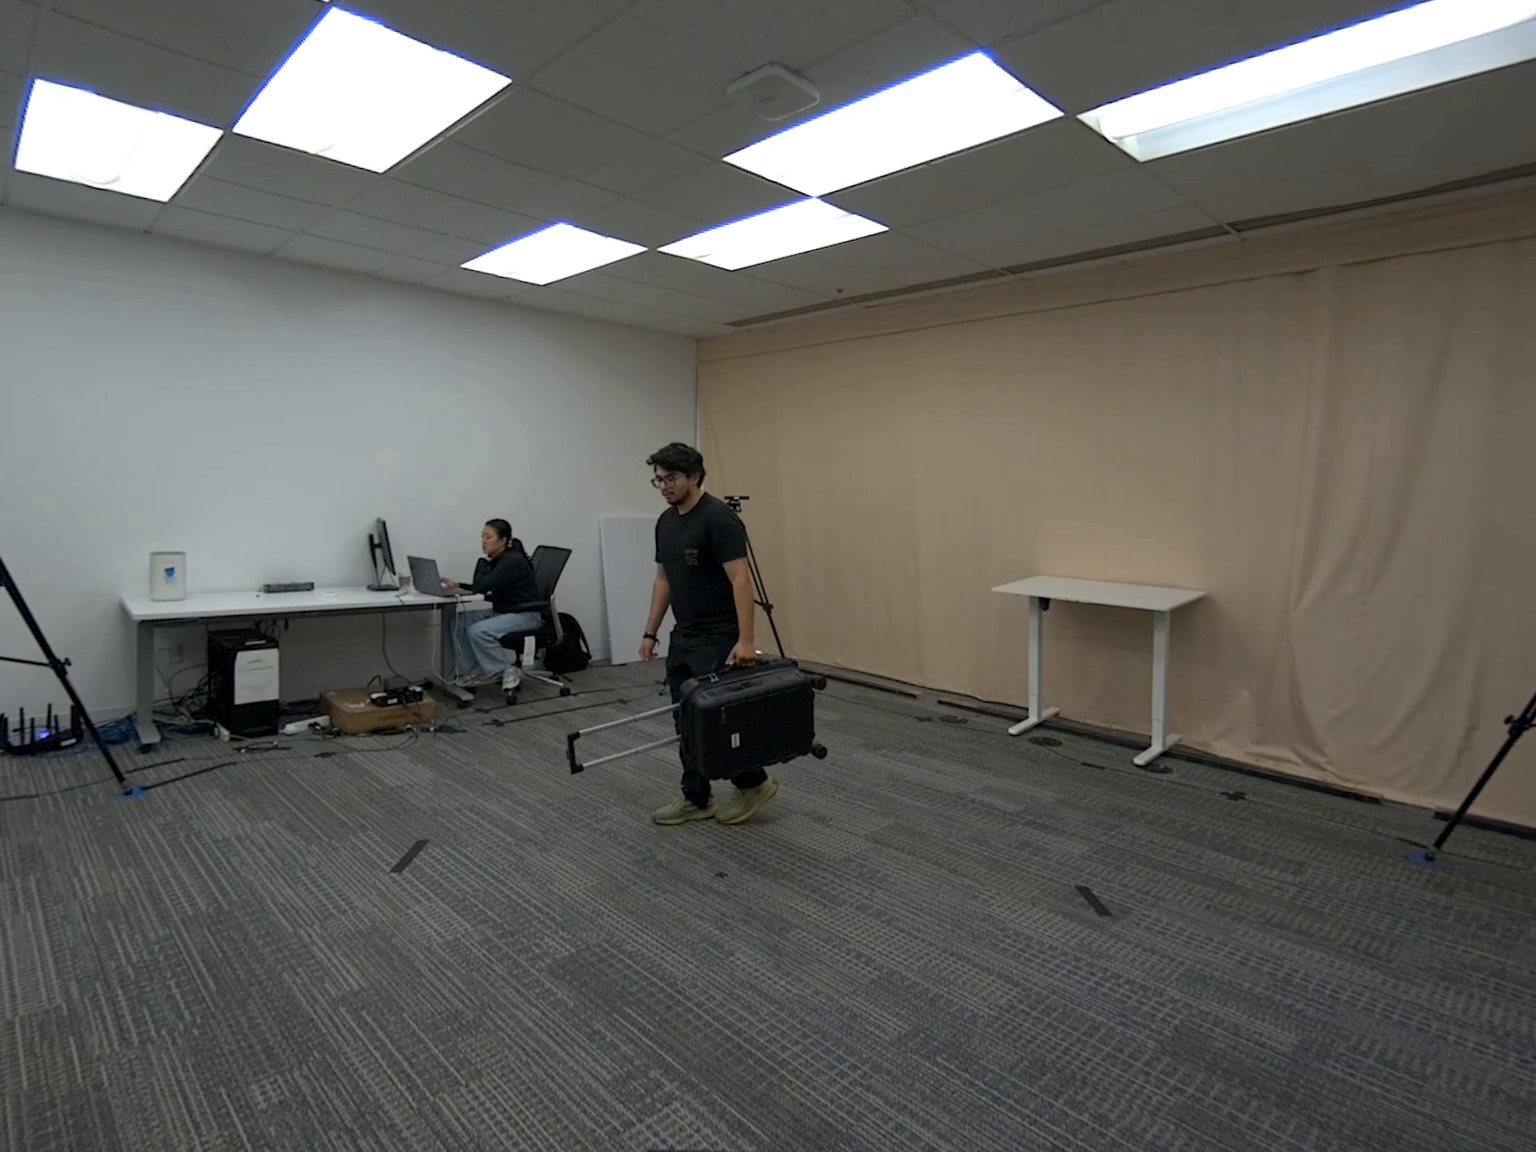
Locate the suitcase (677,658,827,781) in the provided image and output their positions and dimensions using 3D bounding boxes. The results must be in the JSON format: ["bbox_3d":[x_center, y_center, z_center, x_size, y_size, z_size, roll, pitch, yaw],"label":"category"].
[{"bbox_3d":[-0.250,0.582,3.185,0.963,0.380,0.264,-10,16,-28],"label":"suitcase"}]
